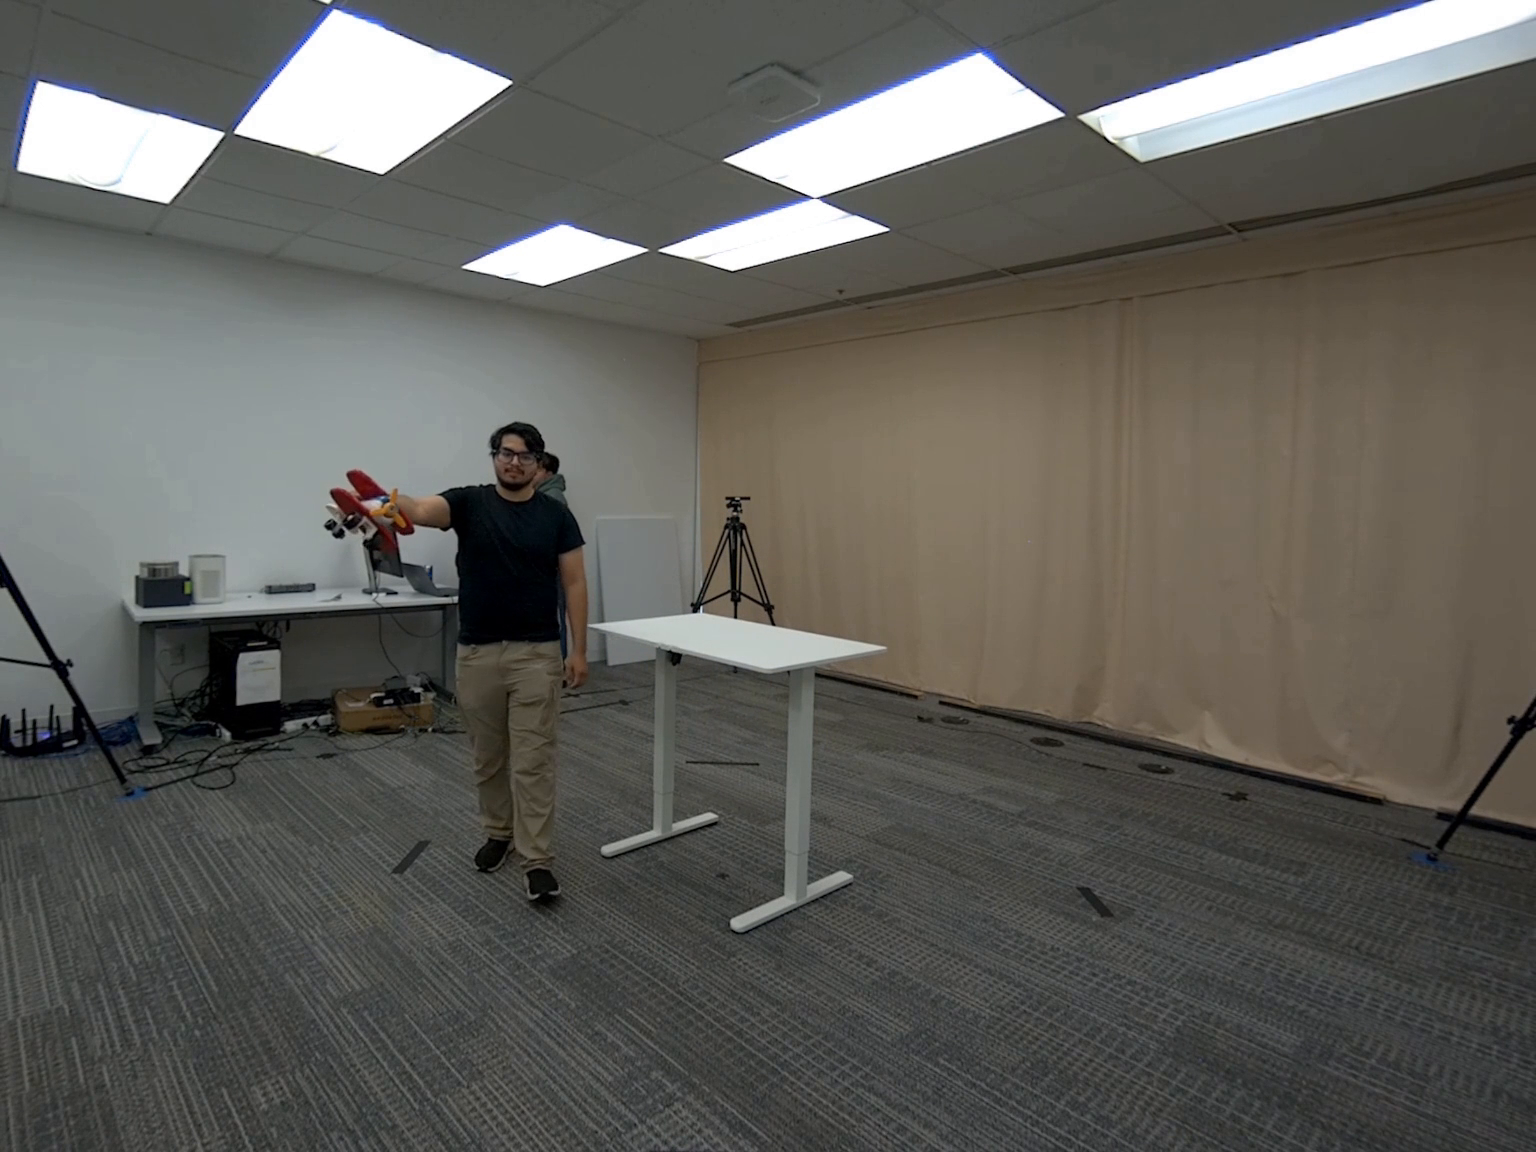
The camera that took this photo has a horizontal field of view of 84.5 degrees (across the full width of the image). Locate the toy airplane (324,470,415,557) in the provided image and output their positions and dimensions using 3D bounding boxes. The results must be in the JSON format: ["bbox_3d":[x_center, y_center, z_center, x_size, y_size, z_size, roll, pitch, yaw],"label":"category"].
[{"bbox_3d":[-1.206,-0.187,2.431,0.264,0.157,0.246,27,-31,18],"label":"toy airplane"}]
